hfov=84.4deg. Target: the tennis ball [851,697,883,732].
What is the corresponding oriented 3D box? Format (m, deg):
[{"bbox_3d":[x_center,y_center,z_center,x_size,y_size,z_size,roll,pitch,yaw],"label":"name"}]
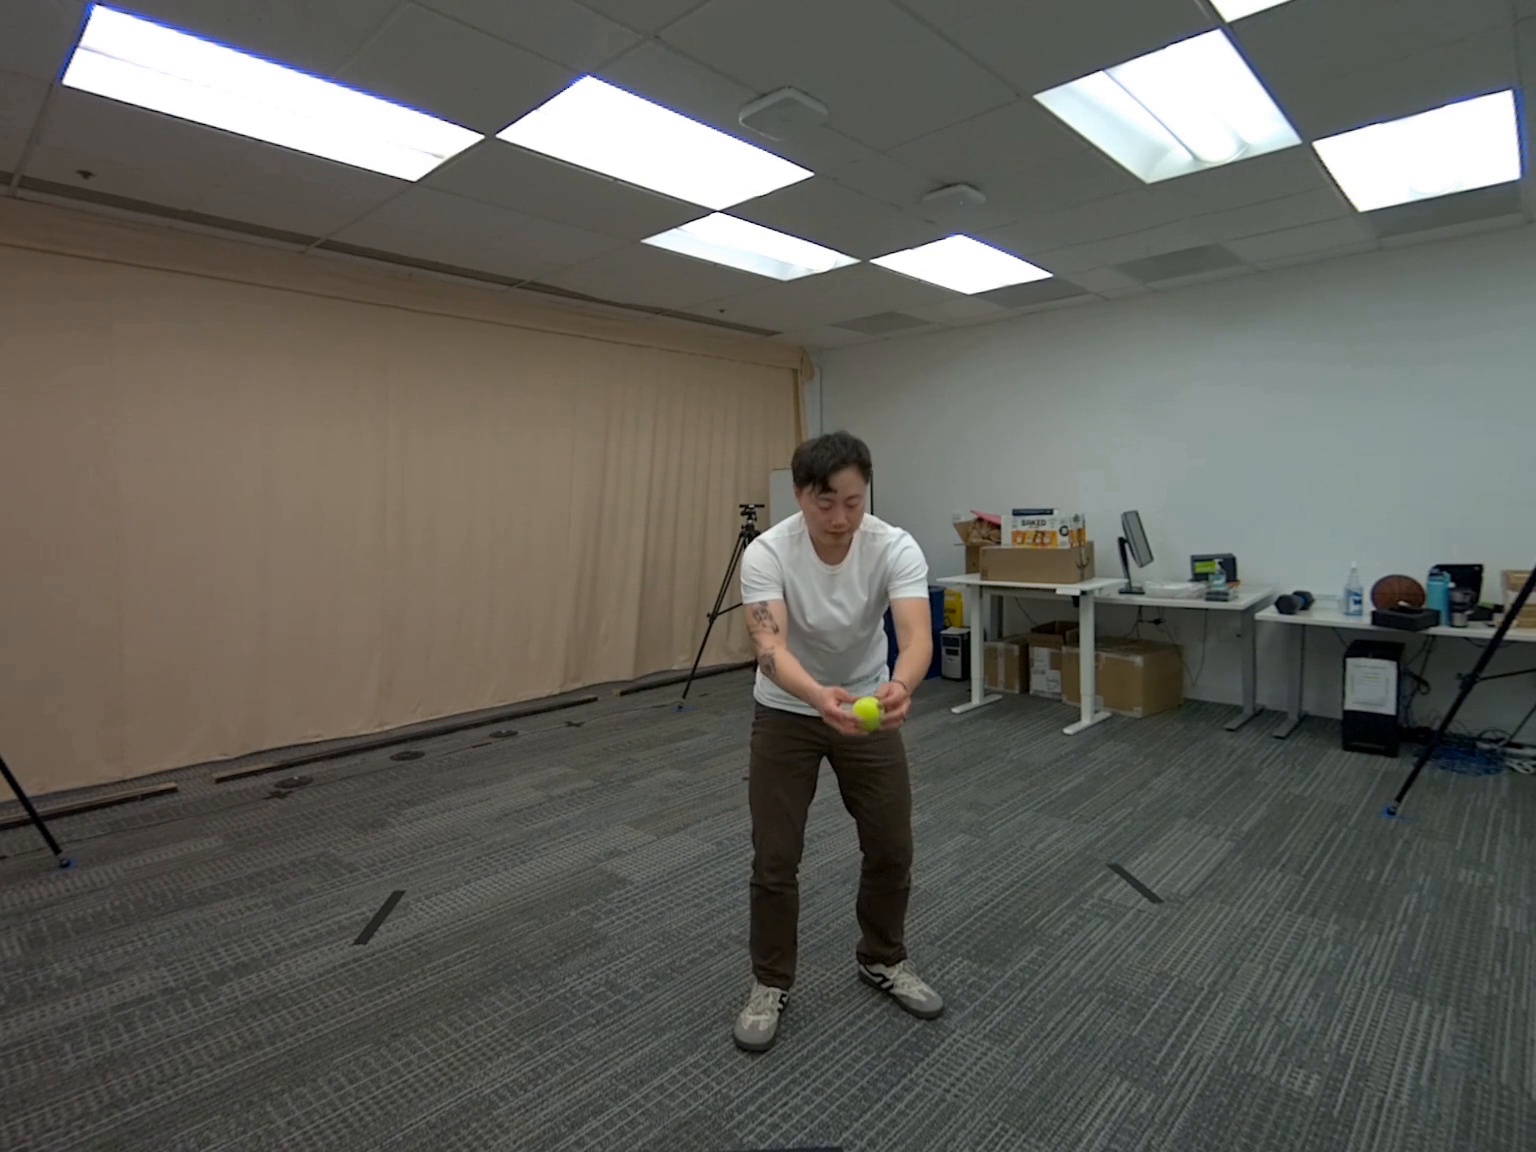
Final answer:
[{"bbox_3d":[0.200,0.299,1.725,0.066,0.066,0.067,-1,4,-2],"label":"tennis ball"}]
